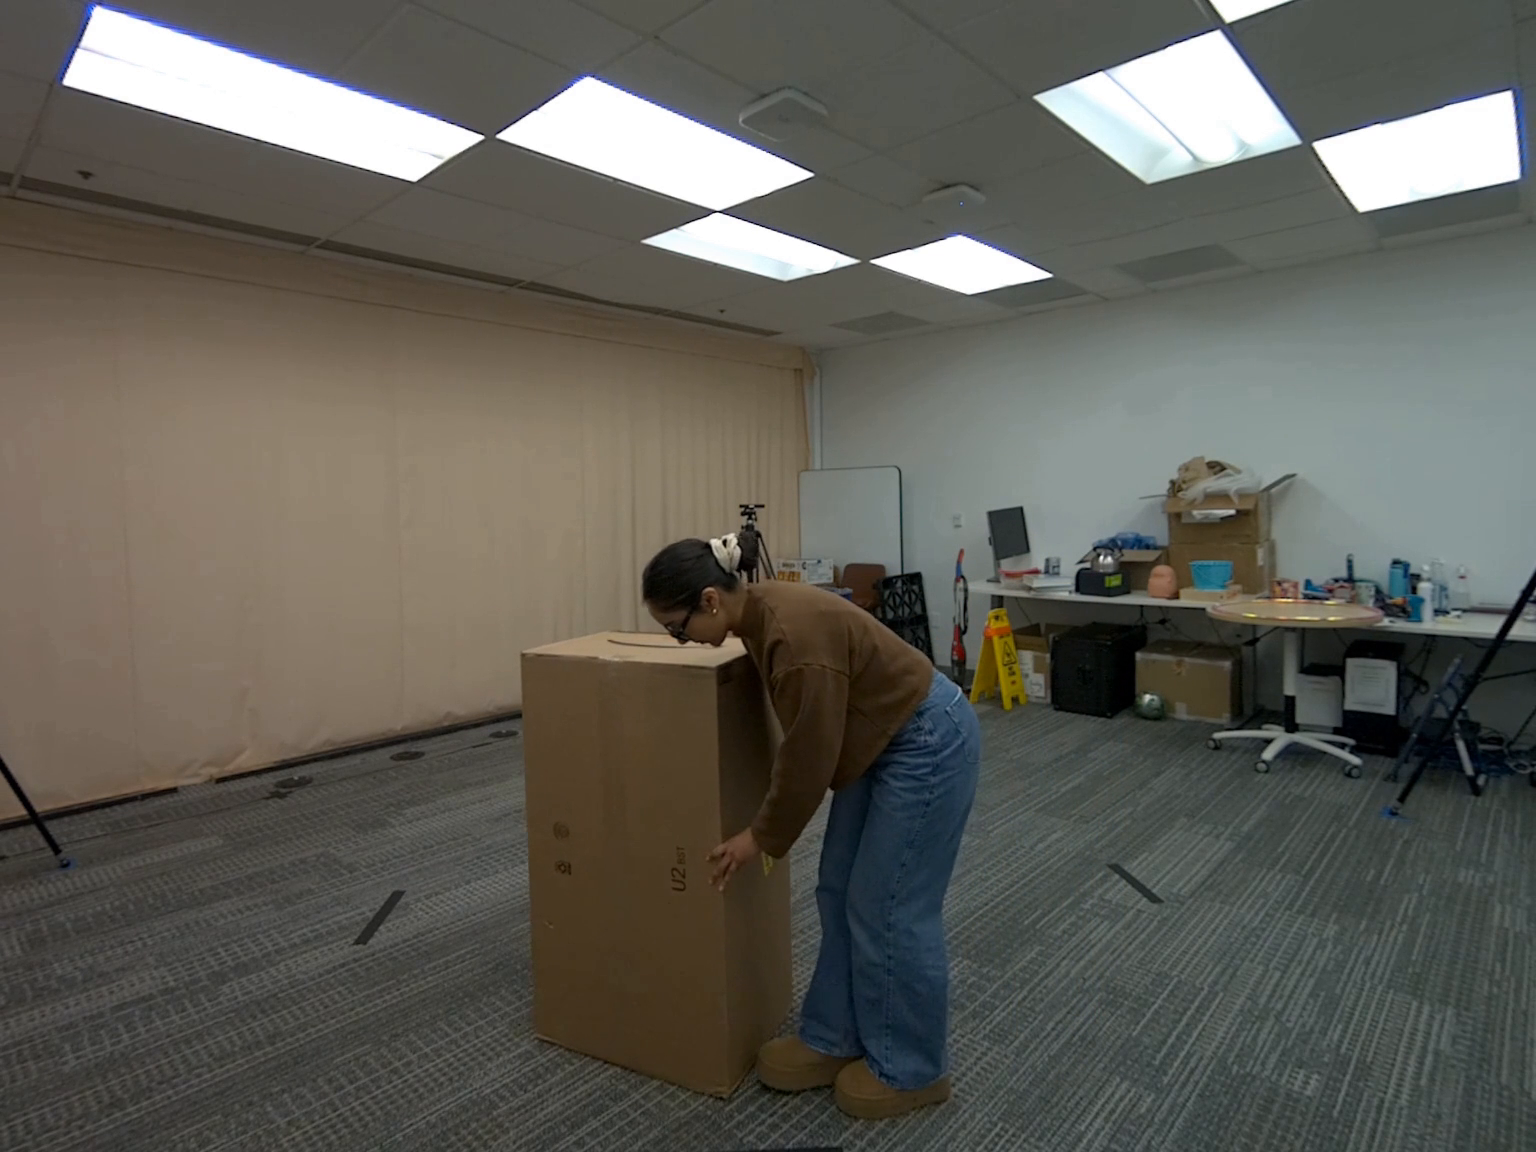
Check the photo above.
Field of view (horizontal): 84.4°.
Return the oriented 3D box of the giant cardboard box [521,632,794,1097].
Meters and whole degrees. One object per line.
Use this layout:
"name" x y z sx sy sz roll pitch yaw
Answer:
"giant cardboard box" -0.284 0.698 2.264 0.592 1.024 0.416 0 2 25
